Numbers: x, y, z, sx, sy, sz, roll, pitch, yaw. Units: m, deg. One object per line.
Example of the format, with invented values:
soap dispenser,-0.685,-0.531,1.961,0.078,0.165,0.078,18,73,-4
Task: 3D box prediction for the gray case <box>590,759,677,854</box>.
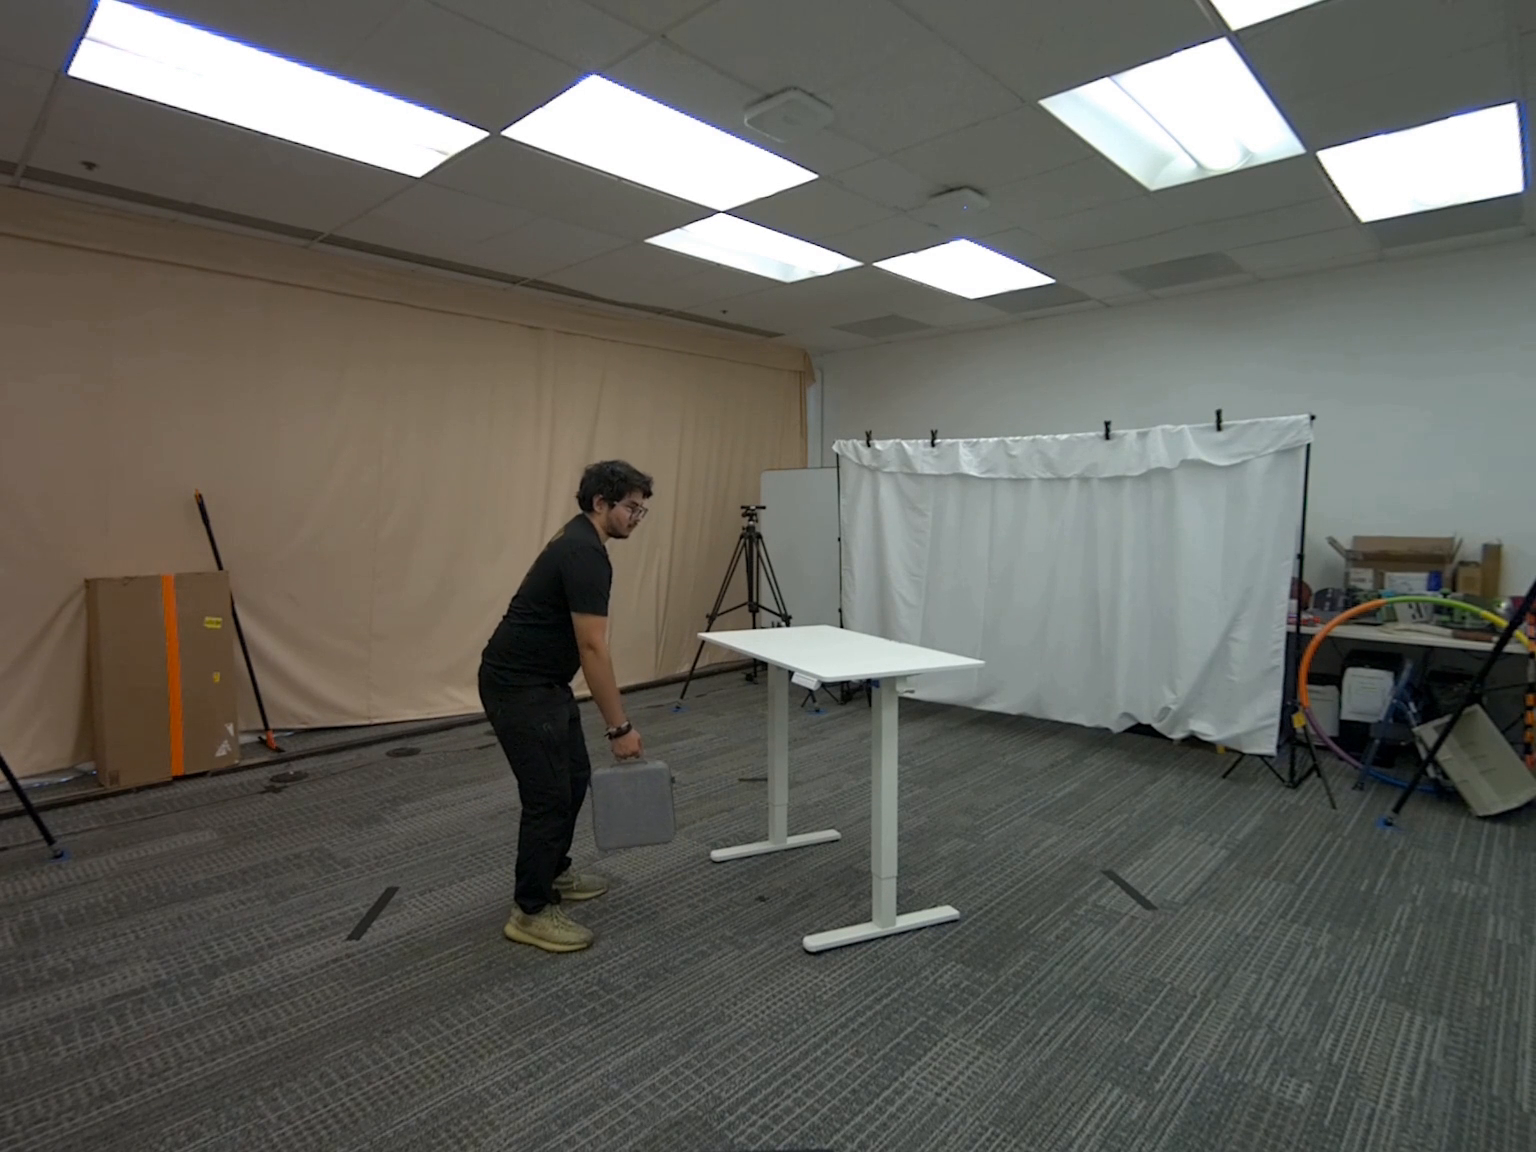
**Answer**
gray case,-0.433,0.729,2.638,0.255,0.260,0.105,-5,1,-7
